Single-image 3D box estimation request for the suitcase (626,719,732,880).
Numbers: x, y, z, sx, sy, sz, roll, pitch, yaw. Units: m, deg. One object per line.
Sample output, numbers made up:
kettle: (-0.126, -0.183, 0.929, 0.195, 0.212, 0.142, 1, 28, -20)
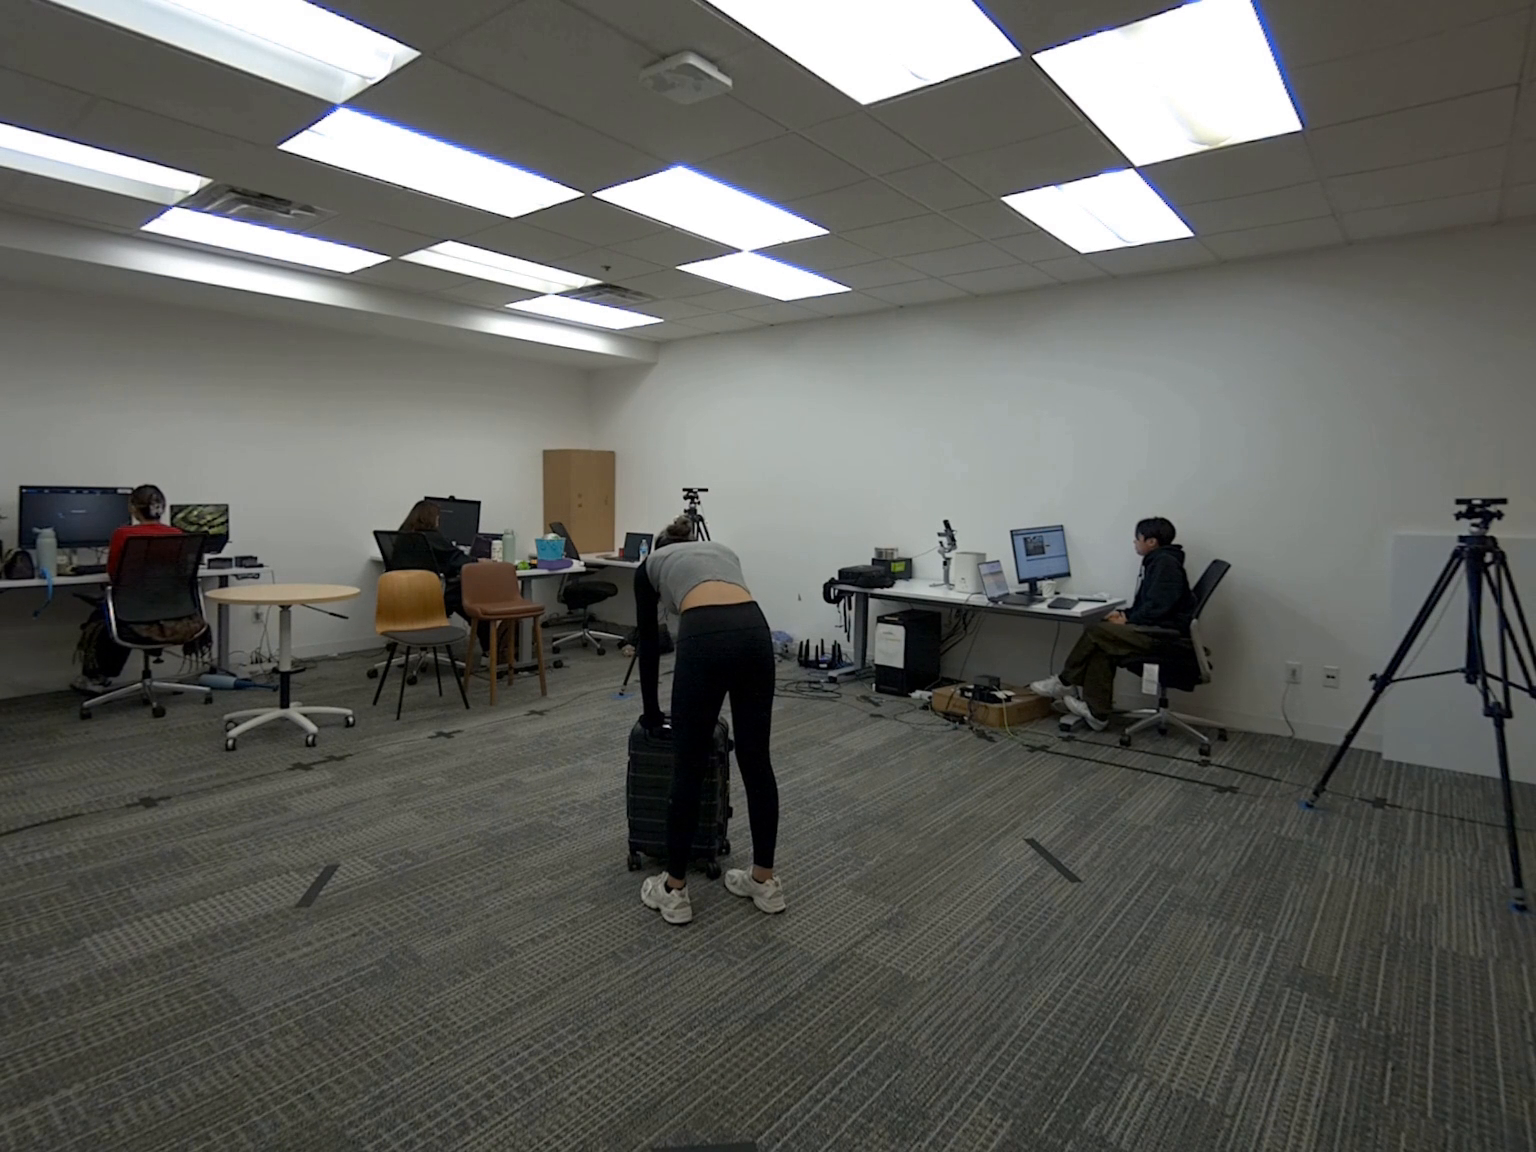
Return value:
suitcase: (-0.343, 0.785, 3.186, 0.380, 0.549, 0.245, 1, 1, 11)
